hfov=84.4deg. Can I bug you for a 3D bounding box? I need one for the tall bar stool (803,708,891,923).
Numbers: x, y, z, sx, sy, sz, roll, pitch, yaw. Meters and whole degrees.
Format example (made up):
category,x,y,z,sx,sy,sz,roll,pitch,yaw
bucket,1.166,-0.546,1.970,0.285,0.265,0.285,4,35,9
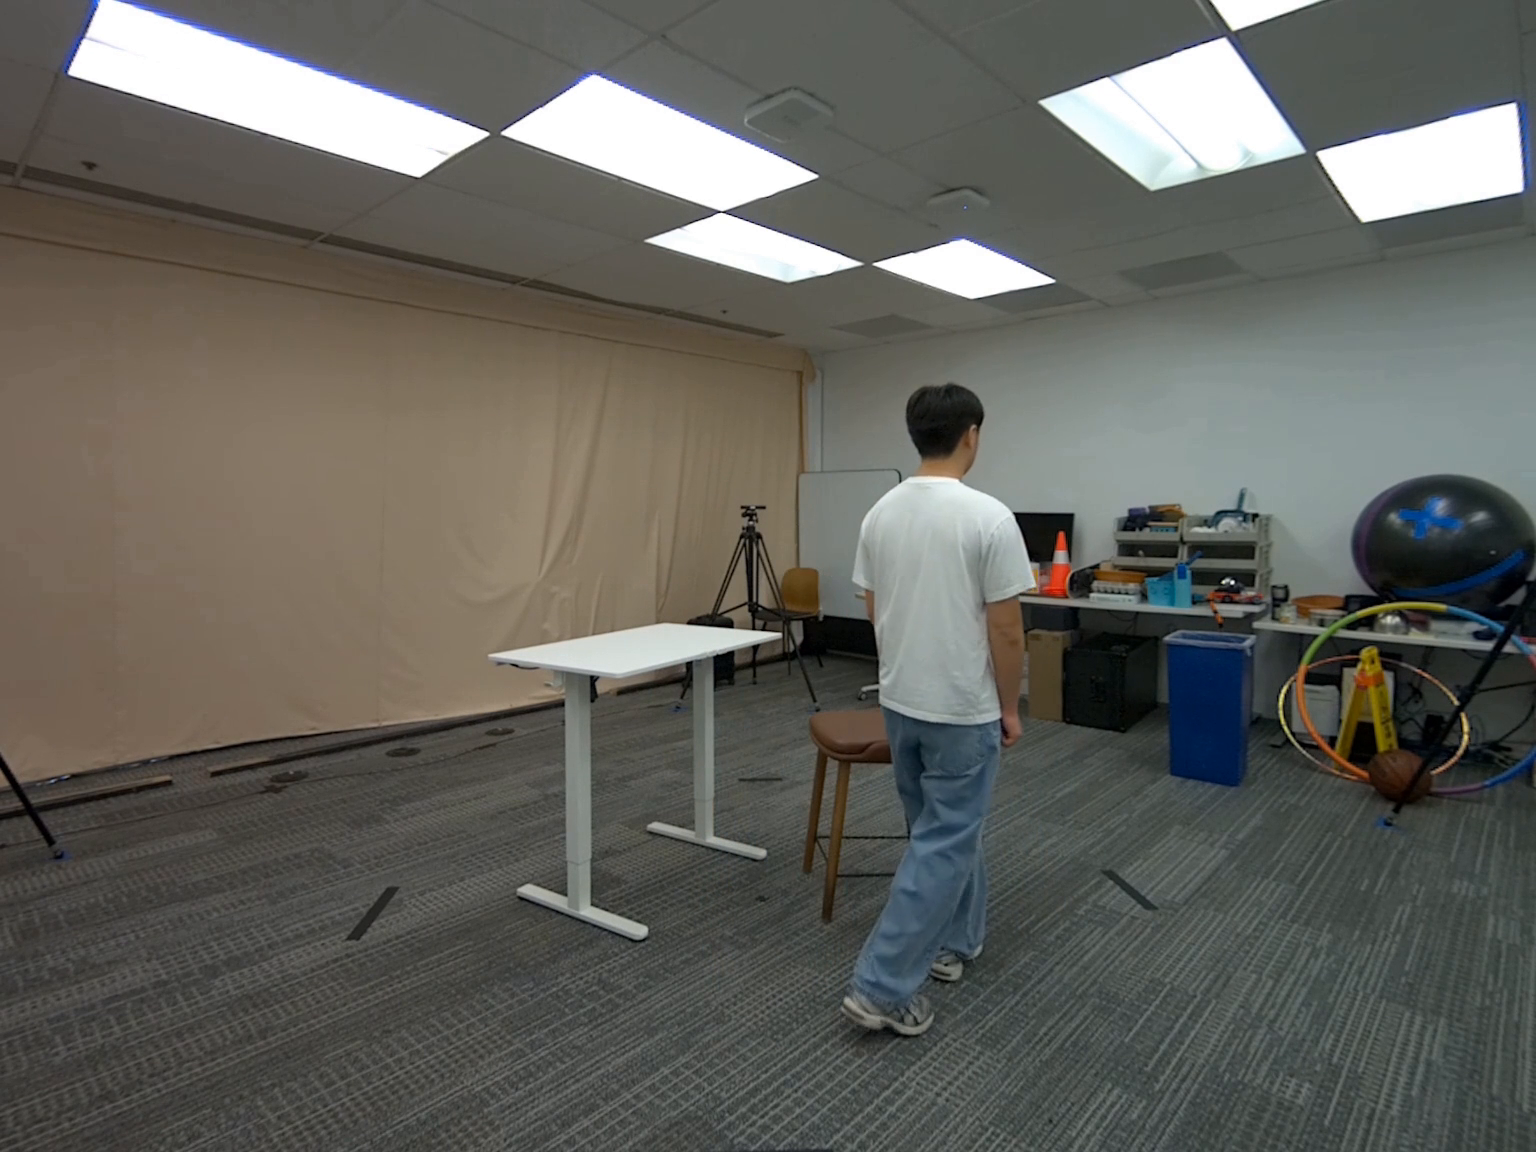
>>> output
category,x,y,z,sx,sy,sz,roll,pitch,yaw
tall bar stool,0.392,0.707,2.998,0.465,0.888,0.461,2,4,-7
